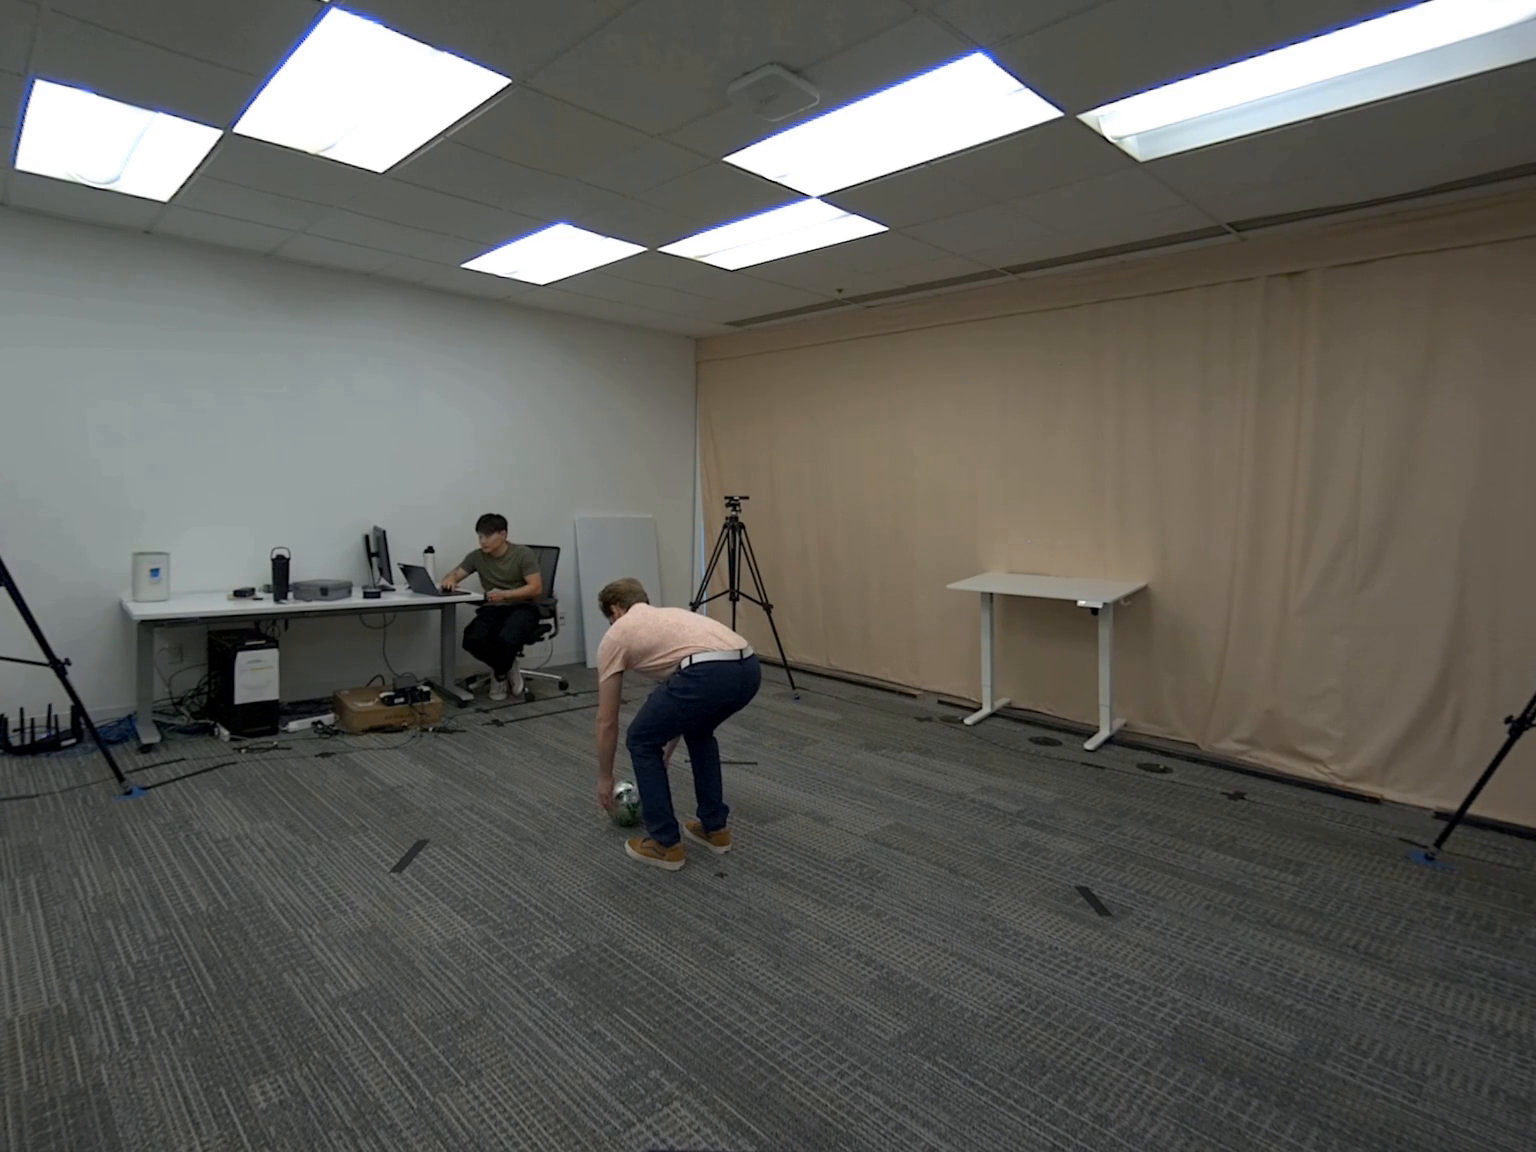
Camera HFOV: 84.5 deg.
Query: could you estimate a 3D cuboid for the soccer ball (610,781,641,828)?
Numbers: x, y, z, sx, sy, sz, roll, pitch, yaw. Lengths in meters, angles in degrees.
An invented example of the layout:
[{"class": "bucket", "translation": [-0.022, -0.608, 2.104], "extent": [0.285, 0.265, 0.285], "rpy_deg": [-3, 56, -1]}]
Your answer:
[{"class": "soccer ball", "translation": [-0.605, 0.960, 3.570], "extent": [0.187, 0.187, 0.188], "rpy_deg": [1, 4, -1]}]
